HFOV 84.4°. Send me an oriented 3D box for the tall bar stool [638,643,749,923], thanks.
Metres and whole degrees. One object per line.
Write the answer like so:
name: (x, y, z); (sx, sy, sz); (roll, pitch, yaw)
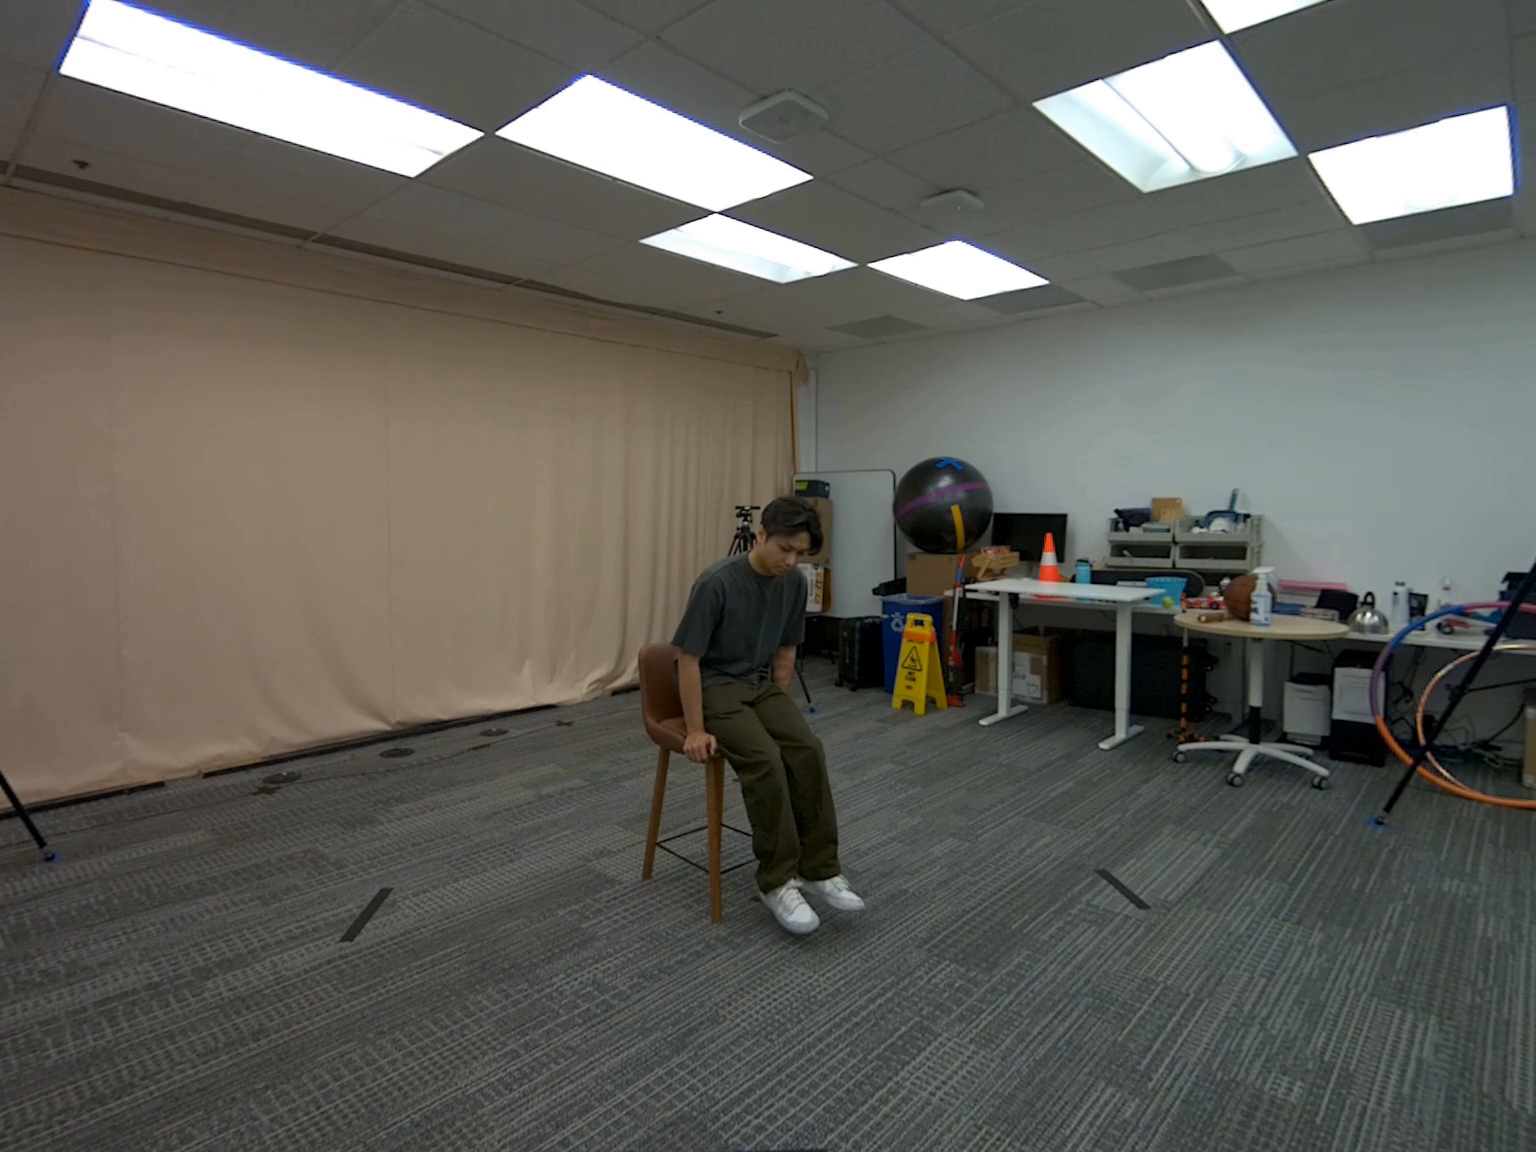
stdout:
tall bar stool: (-0.192, 0.698, 3.094); (0.442, 0.889, 0.483); (-3, 3, -43)
